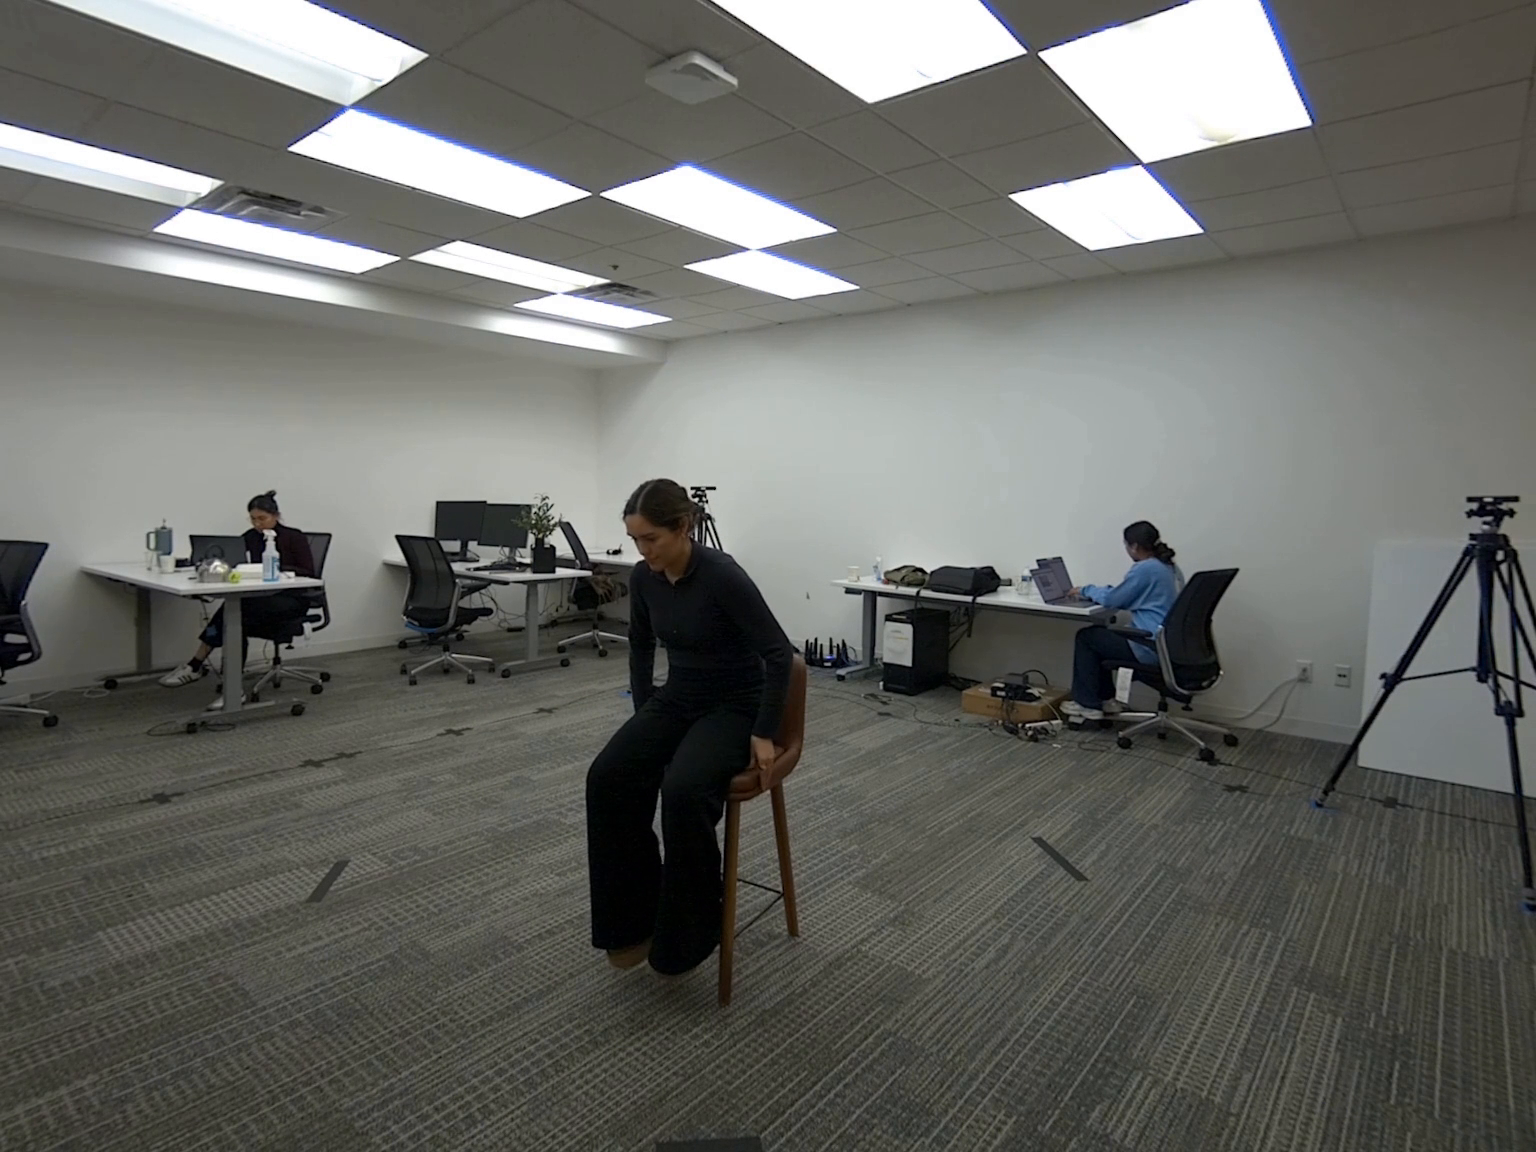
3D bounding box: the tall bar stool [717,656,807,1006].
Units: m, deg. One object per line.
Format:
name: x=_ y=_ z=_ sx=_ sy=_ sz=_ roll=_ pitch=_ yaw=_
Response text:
tall bar stool: x=-0.167 y=0.685 z=2.559 sx=0.471 sy=0.888 sz=0.454 roll=4 pitch=3 yaw=32
